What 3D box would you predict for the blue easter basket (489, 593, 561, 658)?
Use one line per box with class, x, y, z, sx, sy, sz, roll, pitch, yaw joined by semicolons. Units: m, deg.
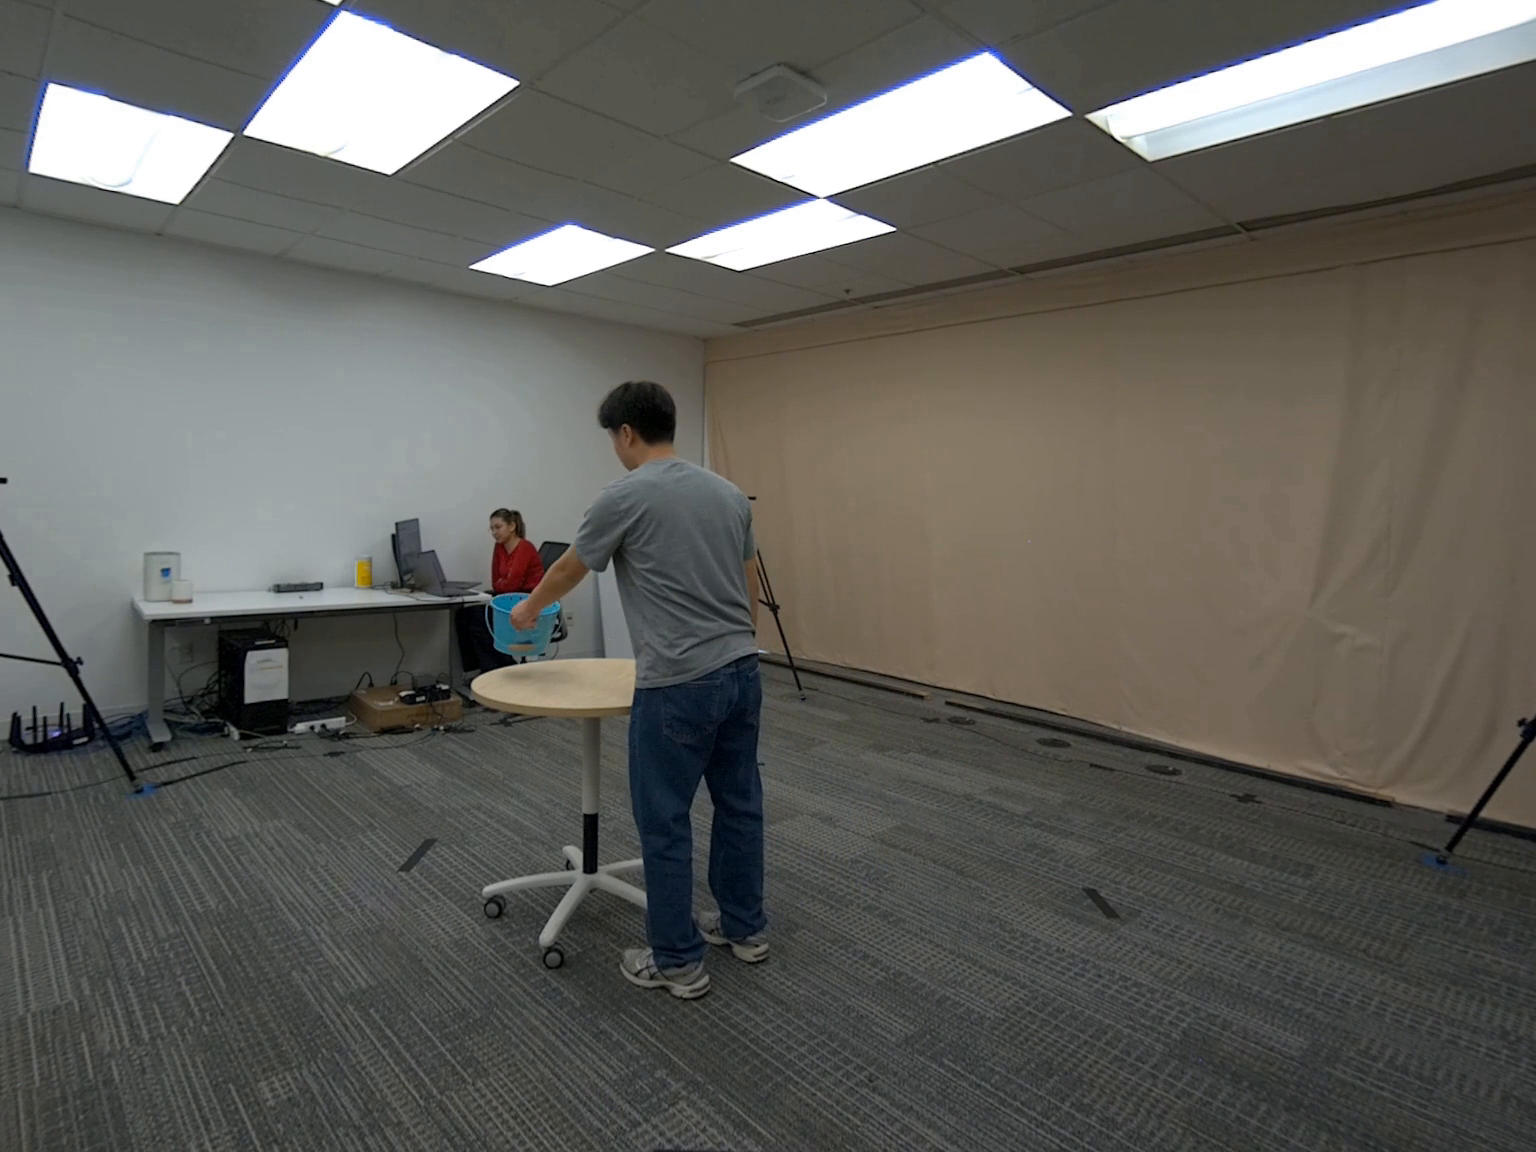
blue easter basket;-0.832;0.171;2.803;0.243;0.155;0.246;7;12;-3
